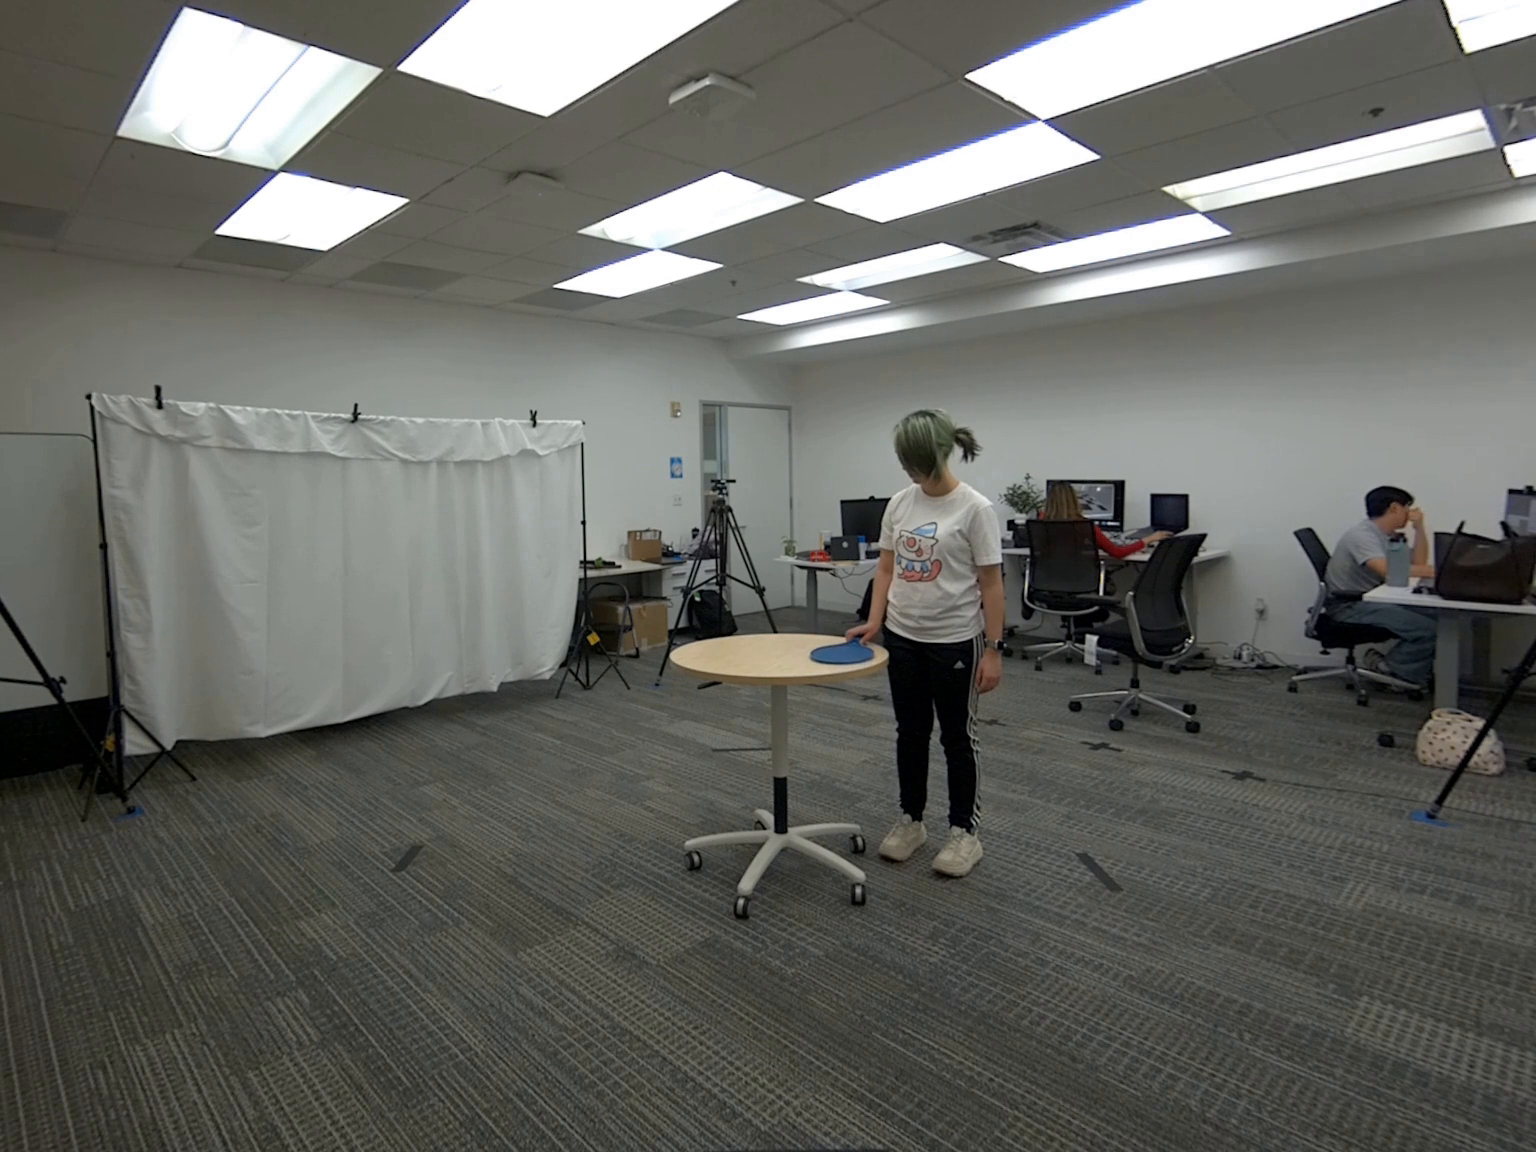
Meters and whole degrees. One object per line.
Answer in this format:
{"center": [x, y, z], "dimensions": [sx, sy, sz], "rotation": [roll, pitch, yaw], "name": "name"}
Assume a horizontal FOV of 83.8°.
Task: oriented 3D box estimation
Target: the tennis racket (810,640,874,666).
{"center": [0.294, 0.258, 2.982], "dimensions": [0.219, 0.031, 0.425], "rotation": [1, 8, 26], "name": "tennis racket"}
